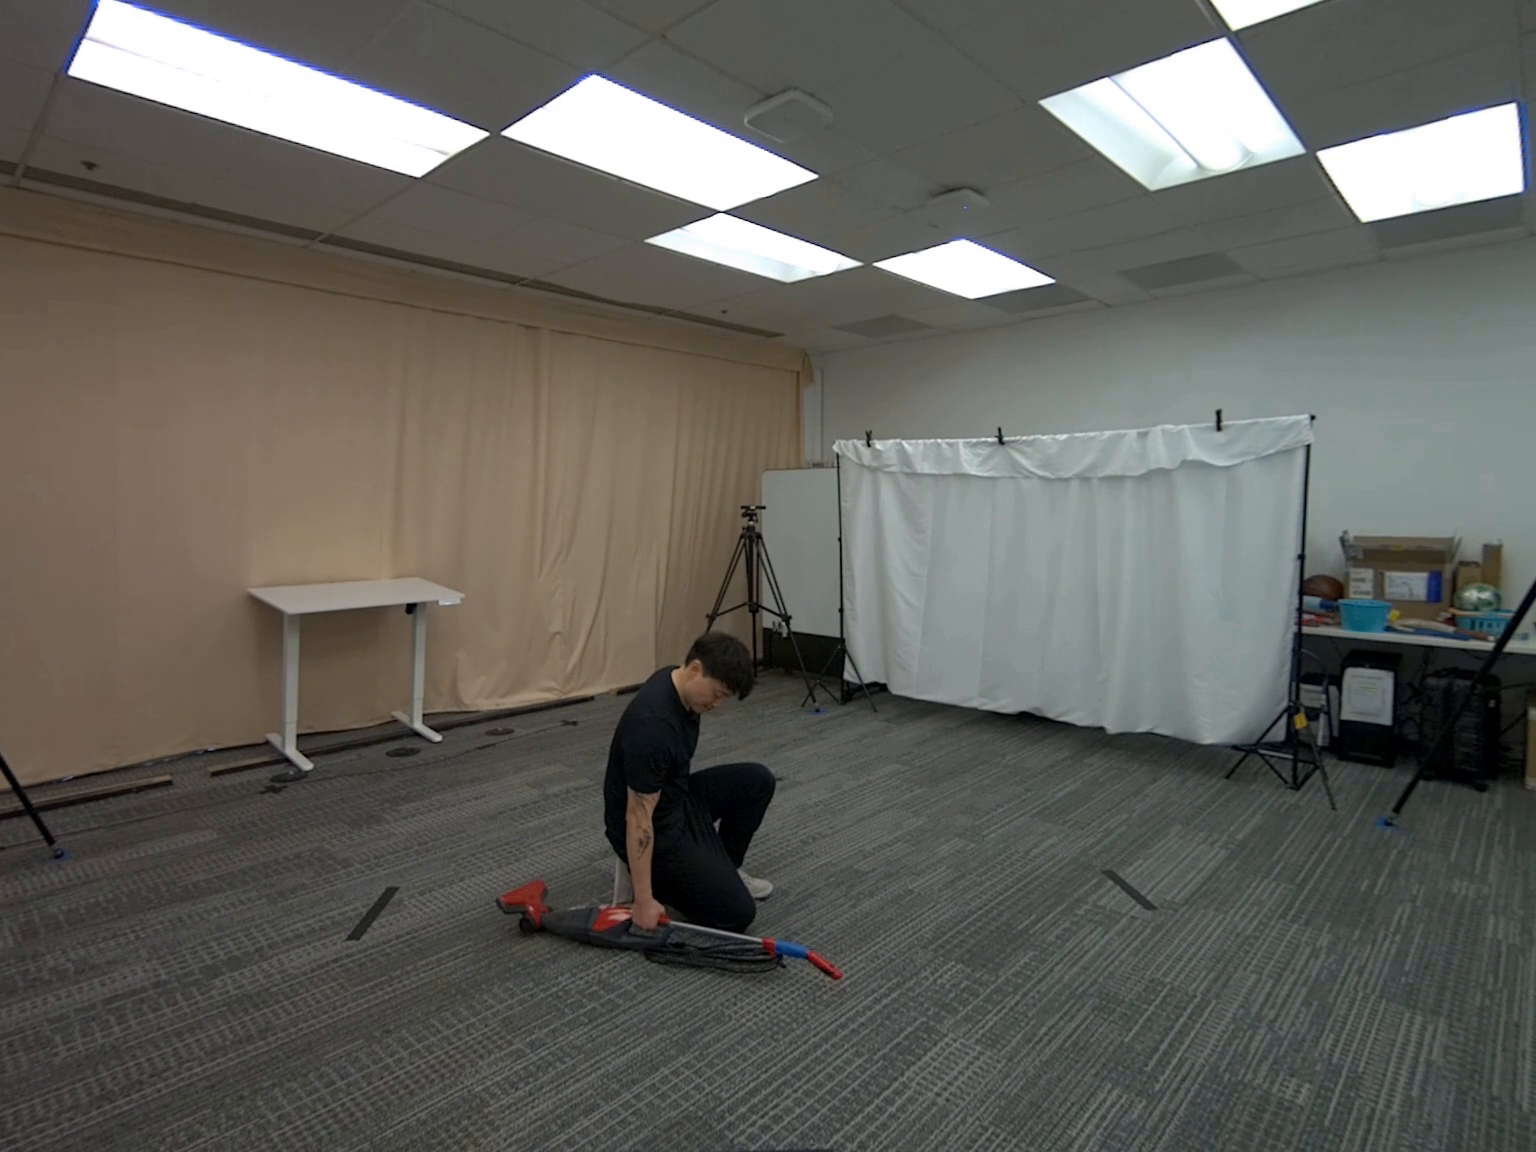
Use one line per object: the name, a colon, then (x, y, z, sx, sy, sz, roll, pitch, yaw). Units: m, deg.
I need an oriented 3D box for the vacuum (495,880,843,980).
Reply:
vacuum: (-0.298, 1.120, 2.590, 1.072, 0.144, 0.246, 3, -8, 21)
